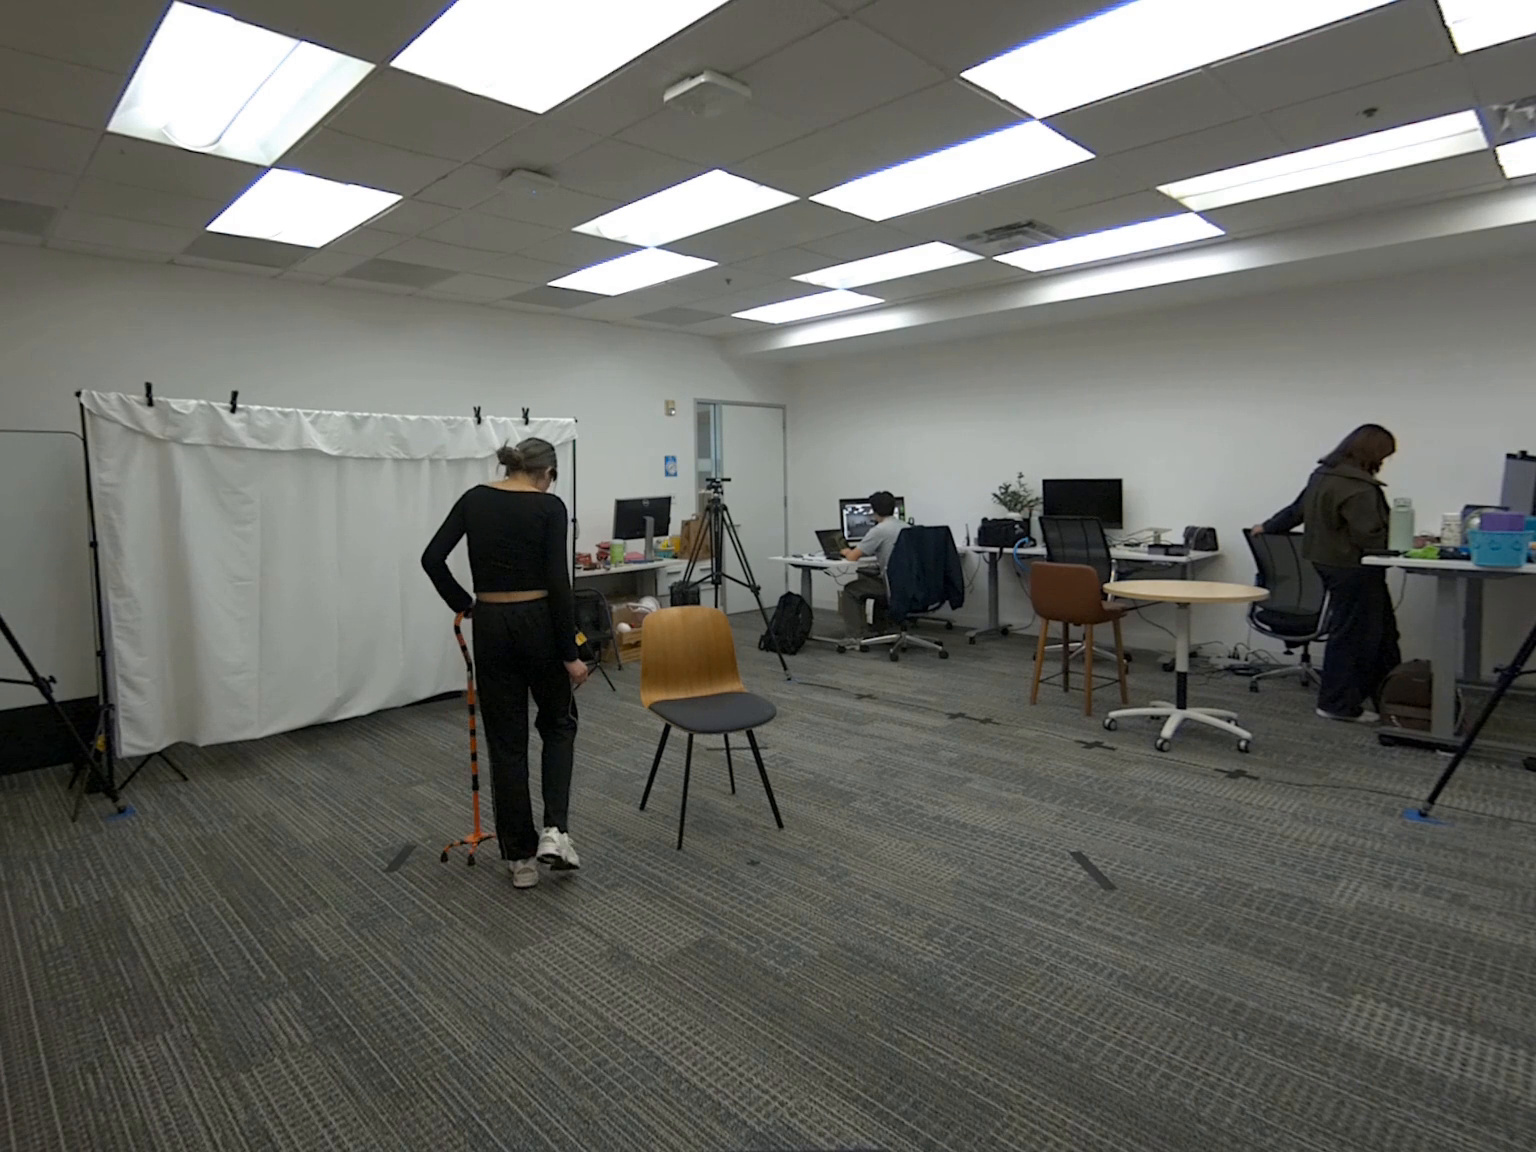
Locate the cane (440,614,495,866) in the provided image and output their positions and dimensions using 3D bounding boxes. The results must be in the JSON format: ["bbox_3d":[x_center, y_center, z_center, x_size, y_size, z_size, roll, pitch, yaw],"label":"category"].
[{"bbox_3d":[-1.100,0.572,3.145,0.154,0.909,0.203,-5,-1,16],"label":"cane"}]
